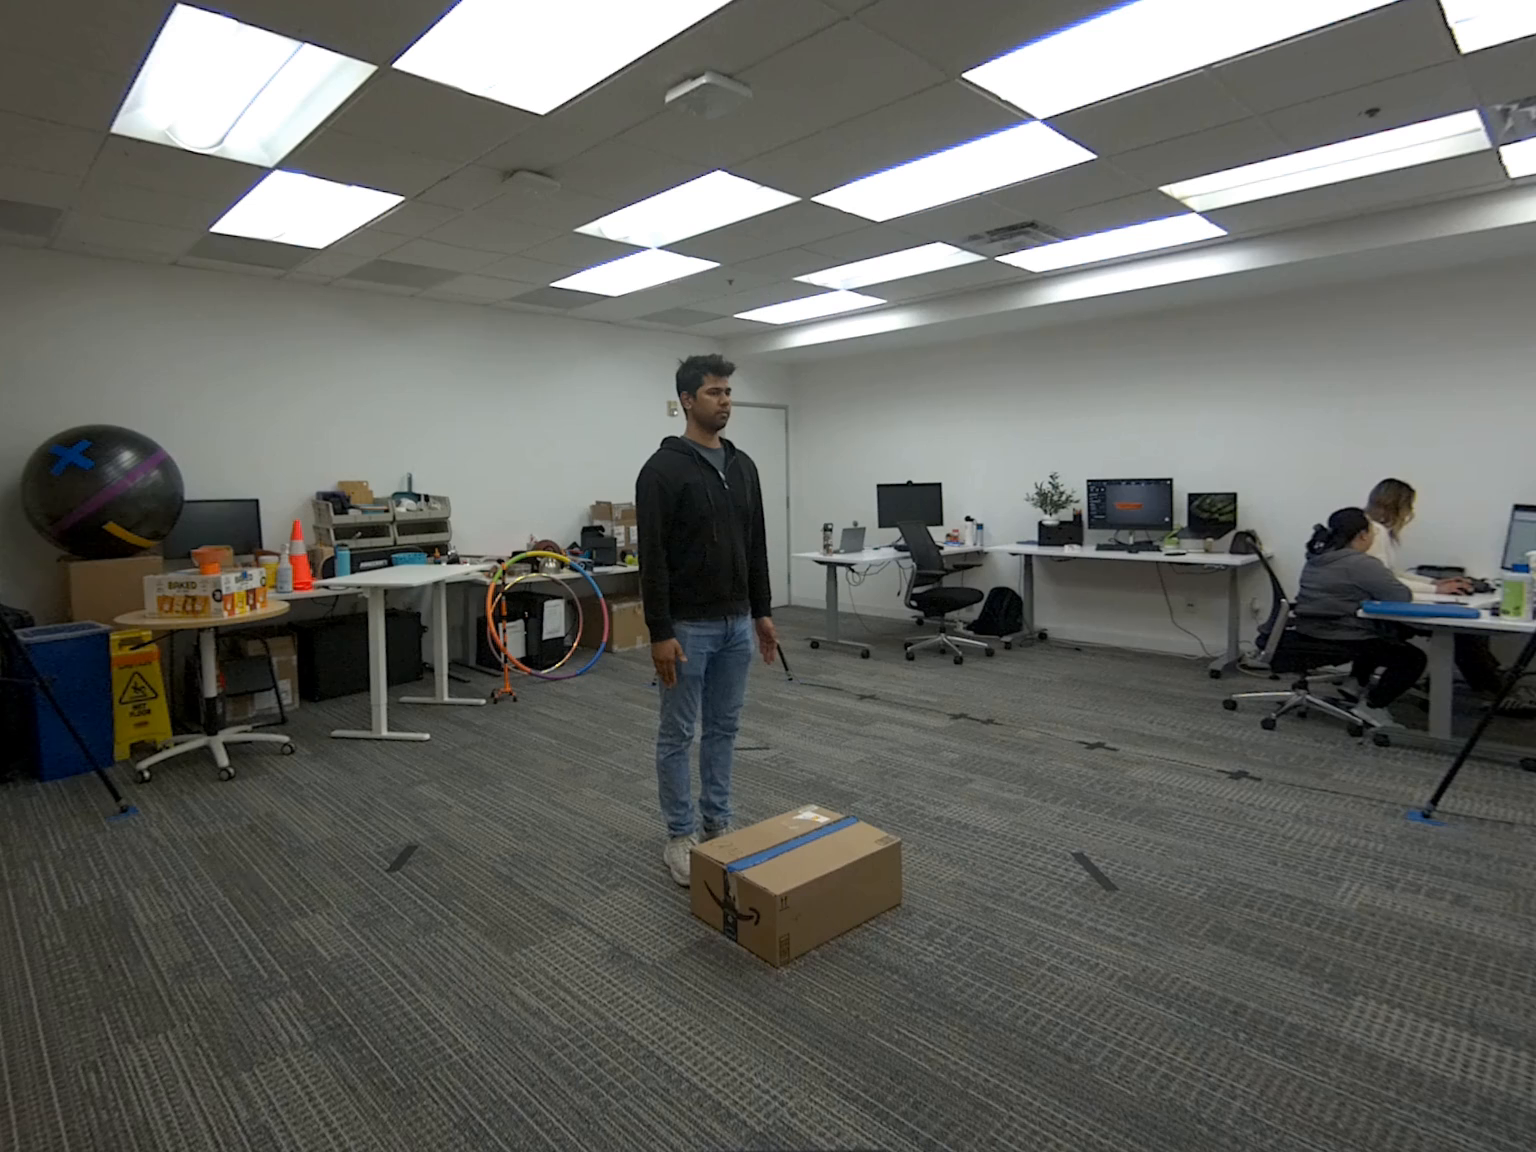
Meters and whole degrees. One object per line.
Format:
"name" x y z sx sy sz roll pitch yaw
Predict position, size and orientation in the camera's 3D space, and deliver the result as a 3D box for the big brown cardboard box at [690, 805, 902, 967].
"big brown cardboard box" 0.094 0.975 2.768 0.574 0.232 0.430 -8 9 -41
